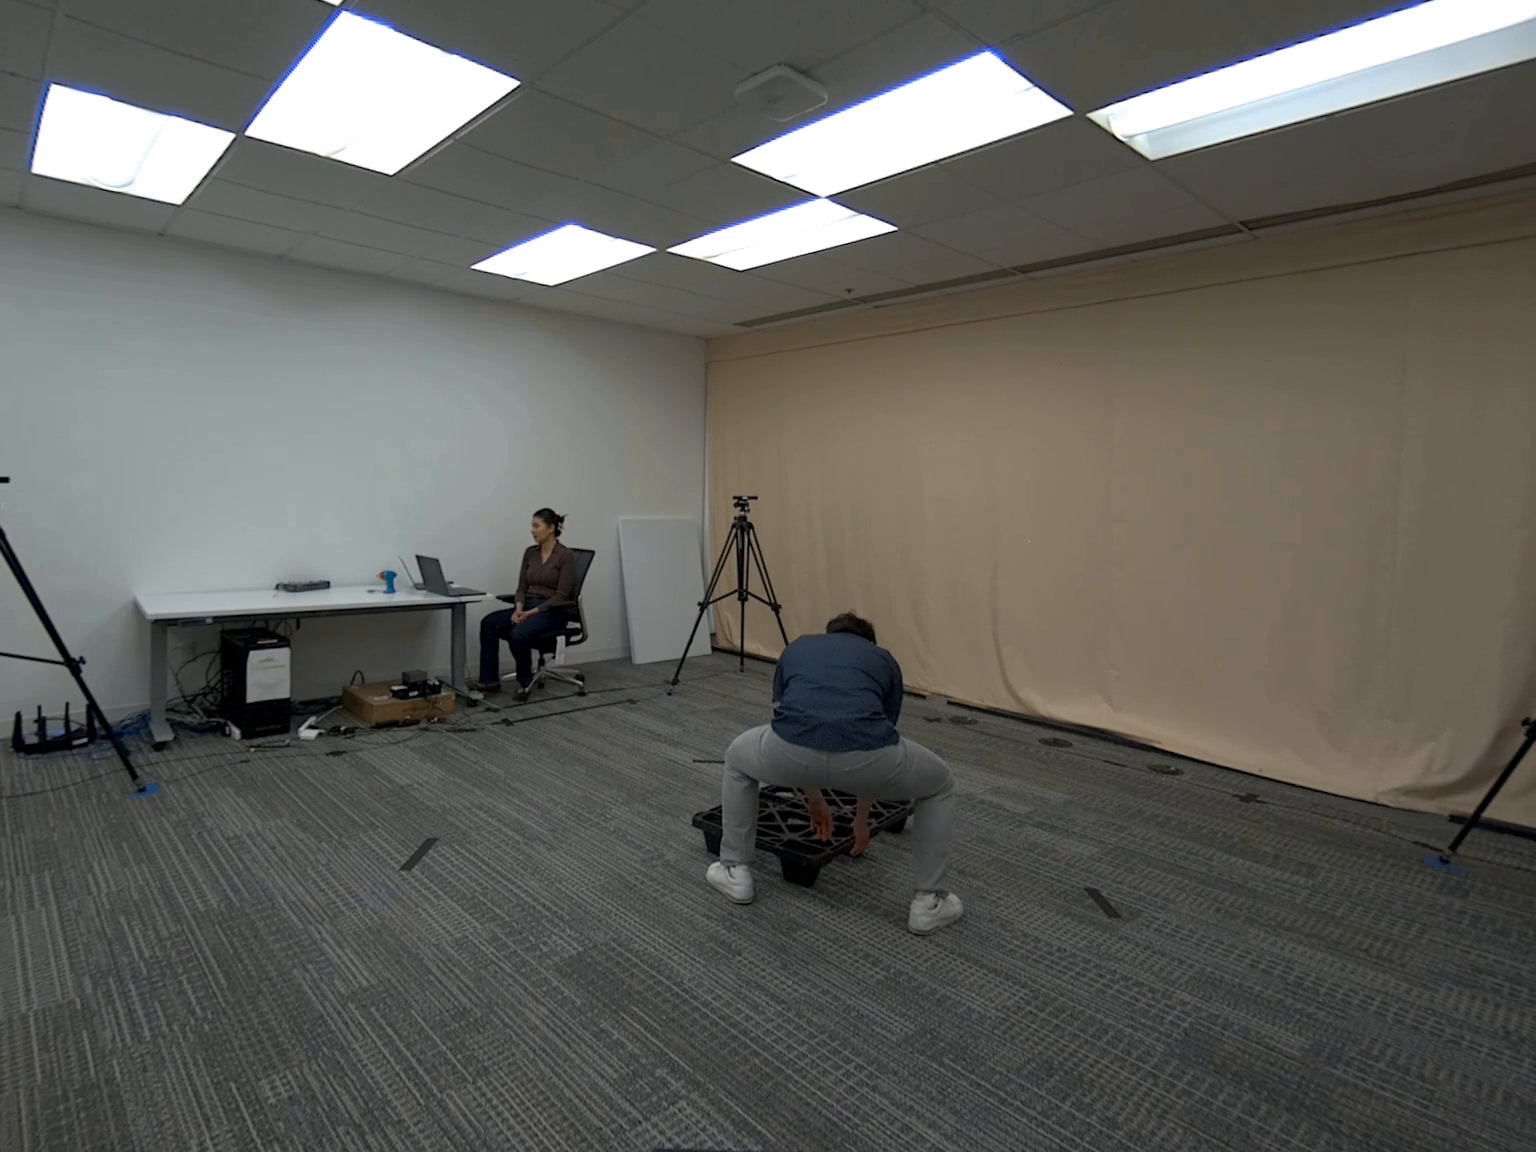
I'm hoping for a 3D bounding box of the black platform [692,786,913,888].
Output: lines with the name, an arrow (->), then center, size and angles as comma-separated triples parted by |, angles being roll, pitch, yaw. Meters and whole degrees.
black platform -> 0.166, 1.014, 3.430 | 0.620, 0.143, 0.788 | 5, 6, 37
